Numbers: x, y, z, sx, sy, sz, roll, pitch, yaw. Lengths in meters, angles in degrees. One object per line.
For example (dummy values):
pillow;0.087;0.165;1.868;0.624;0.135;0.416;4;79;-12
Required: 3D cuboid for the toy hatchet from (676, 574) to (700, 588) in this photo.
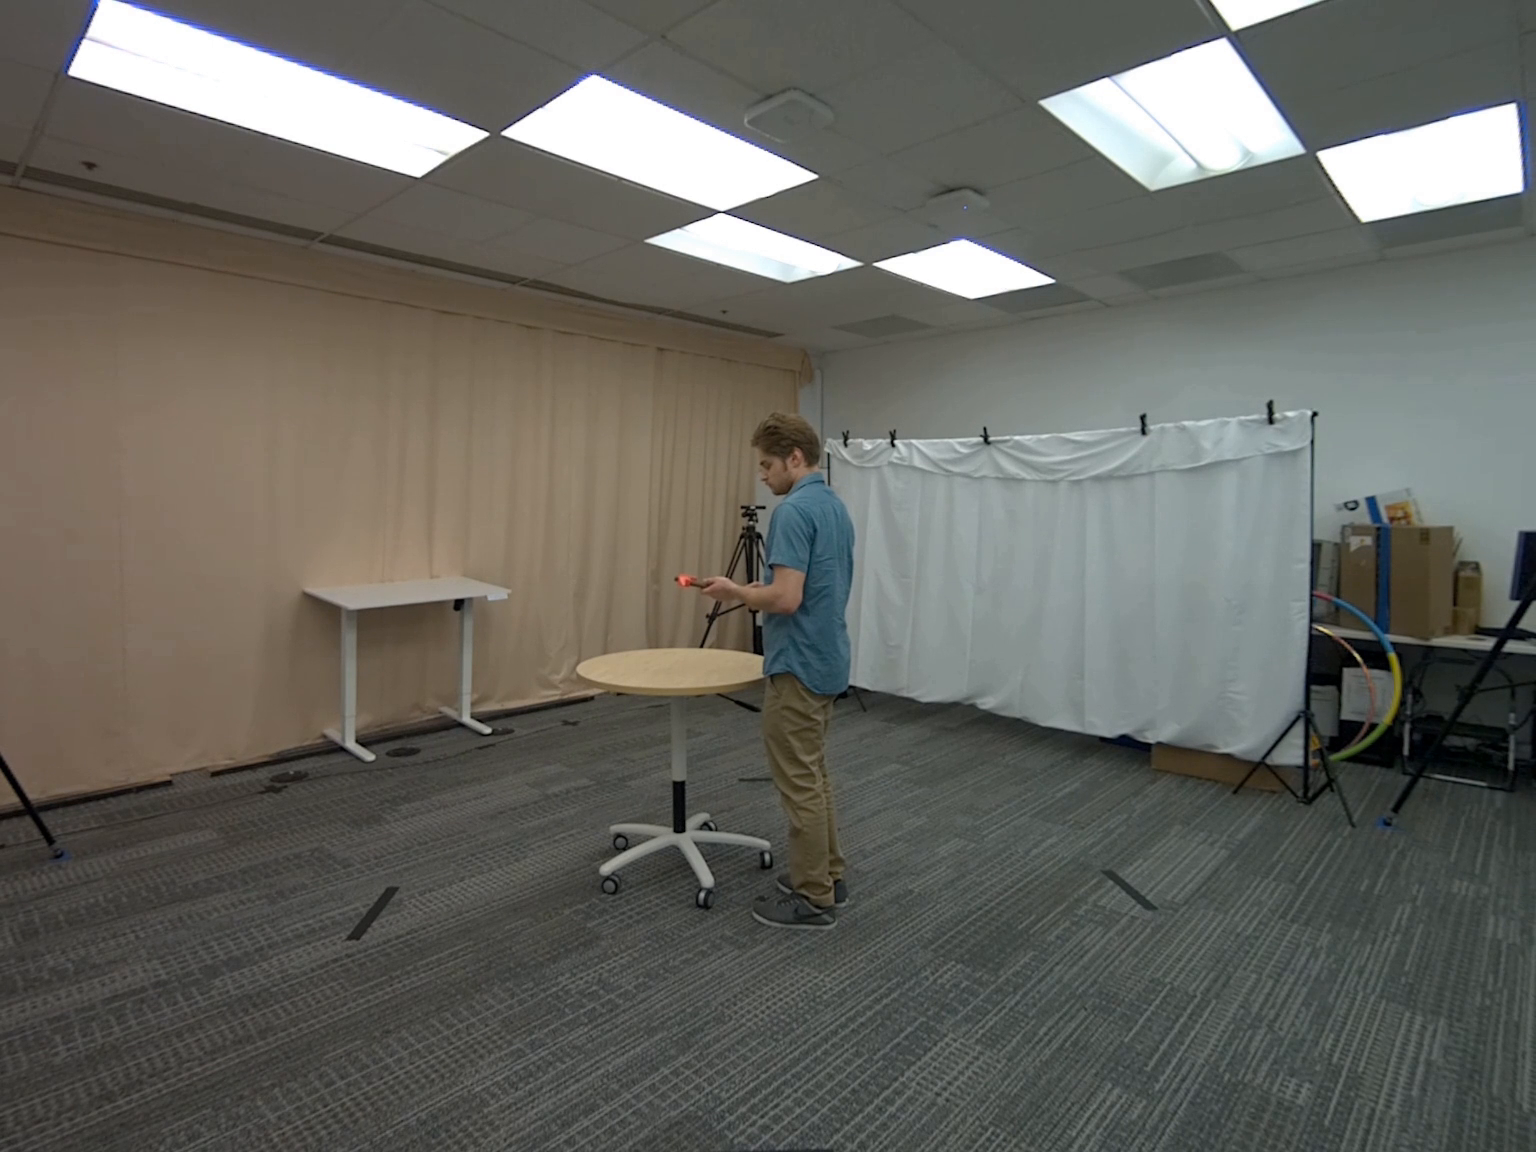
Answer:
toy hatchet;-0.185;0.029;2.913;0.263;0.029;0.135;6;11;-26
